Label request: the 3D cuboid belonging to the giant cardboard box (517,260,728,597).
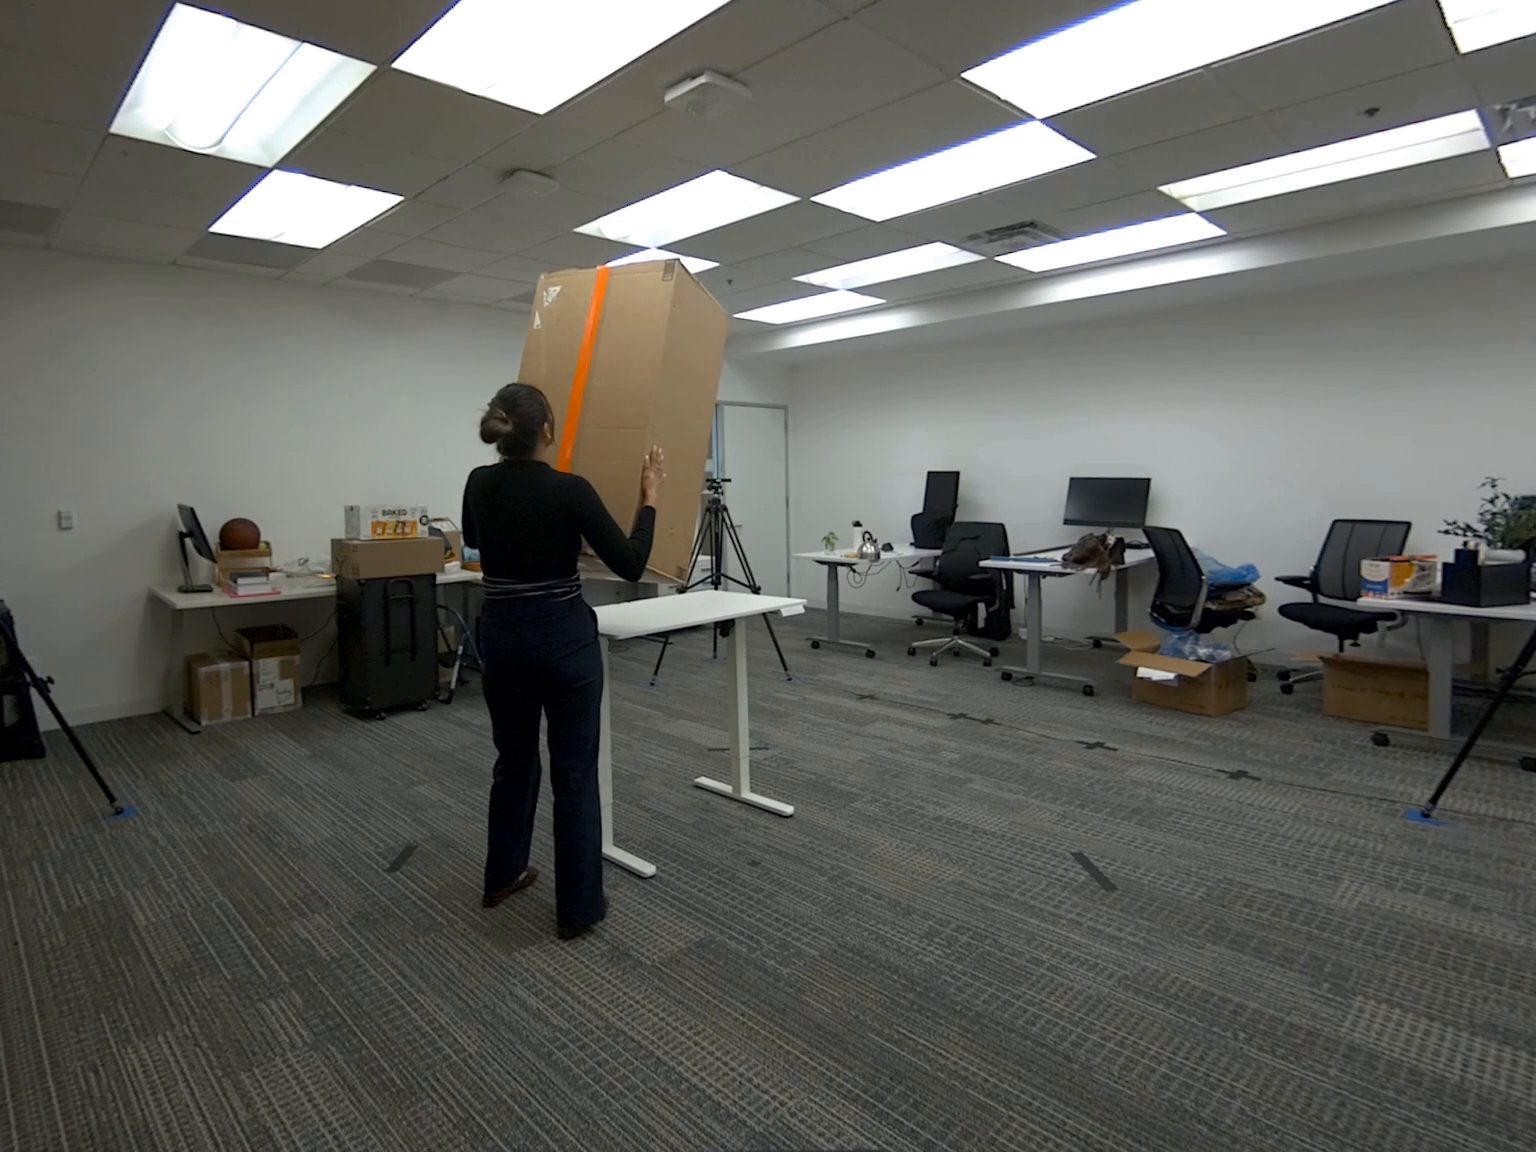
[{"bbox_3d":[-0.548,-0.521,3.019,0.591,1.034,0.412,3,-12,25],"label":"giant cardboard box"}]
